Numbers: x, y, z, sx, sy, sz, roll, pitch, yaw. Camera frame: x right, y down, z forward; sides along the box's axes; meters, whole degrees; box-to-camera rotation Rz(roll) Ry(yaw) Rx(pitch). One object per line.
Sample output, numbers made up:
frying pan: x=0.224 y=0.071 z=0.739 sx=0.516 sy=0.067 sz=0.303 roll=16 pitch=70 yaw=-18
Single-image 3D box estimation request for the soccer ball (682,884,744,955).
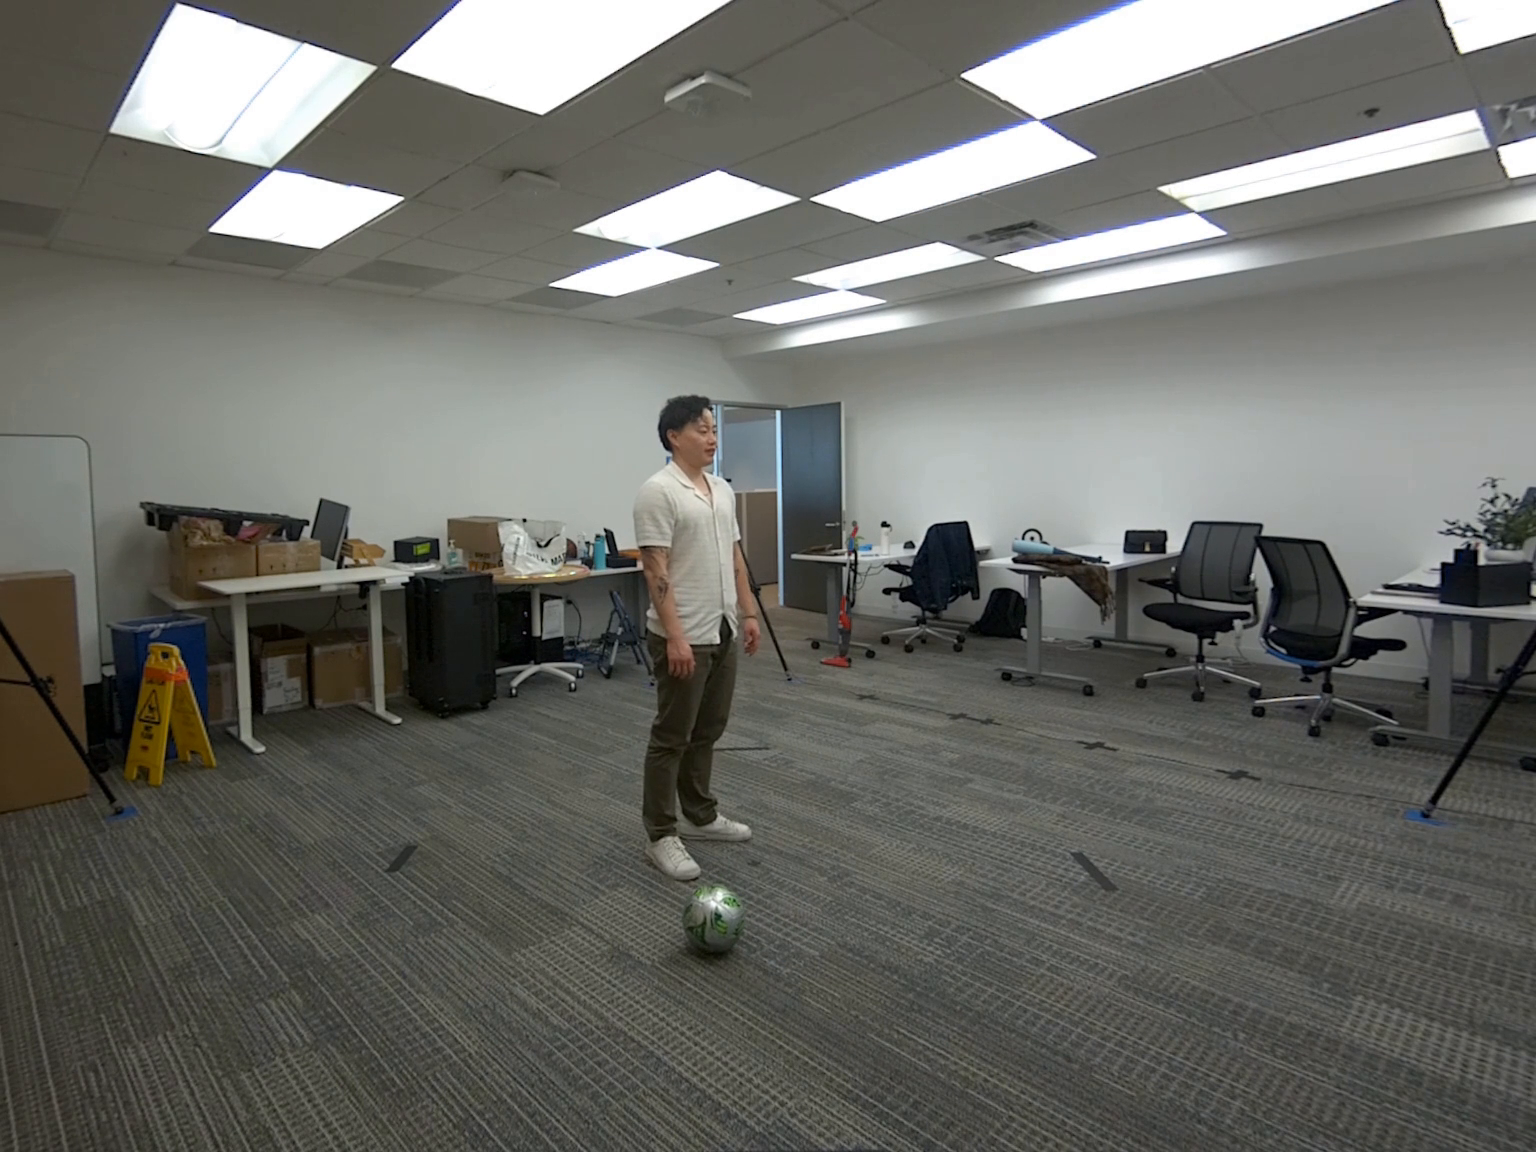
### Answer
soccer ball: x=-0.155 y=1.021 z=2.549 sx=0.187 sy=0.187 sz=0.188 roll=-1 pitch=5 yaw=-2
